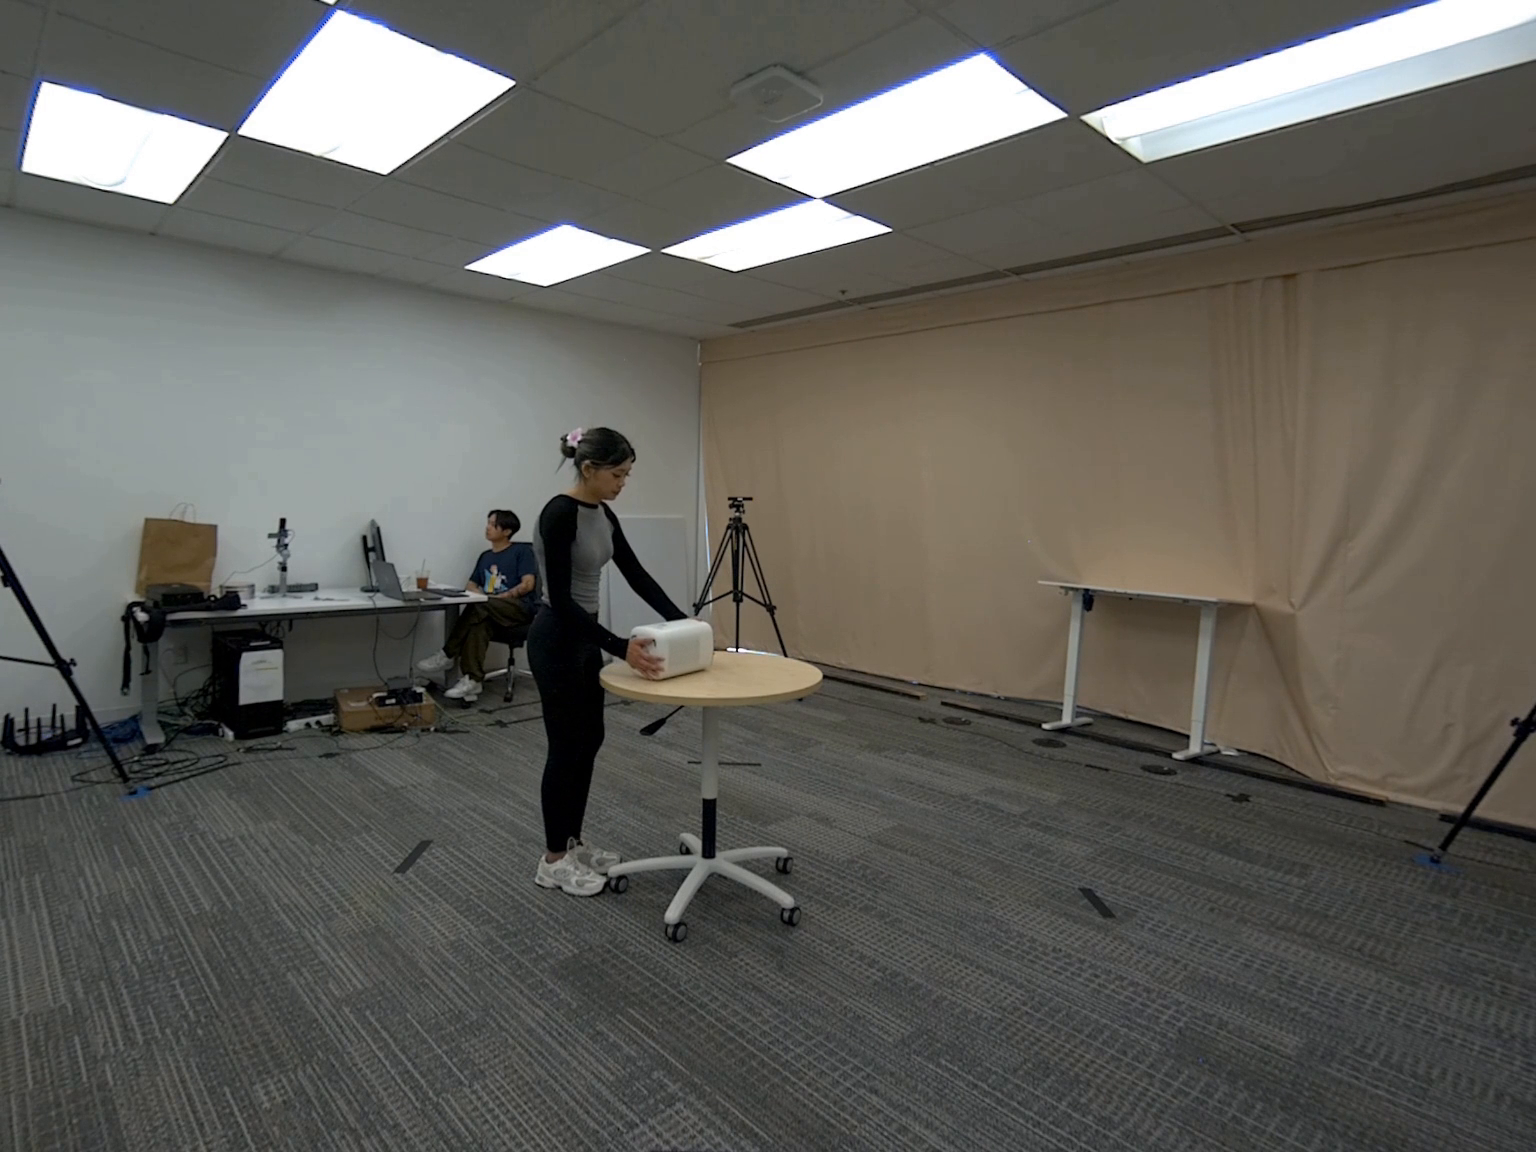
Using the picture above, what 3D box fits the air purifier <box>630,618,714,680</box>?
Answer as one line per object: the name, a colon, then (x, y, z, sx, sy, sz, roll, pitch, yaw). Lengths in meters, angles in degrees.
air purifier: (-0.340, 0.246, 2.854, 0.175, 0.171, 0.260, 6, 7, 35)
